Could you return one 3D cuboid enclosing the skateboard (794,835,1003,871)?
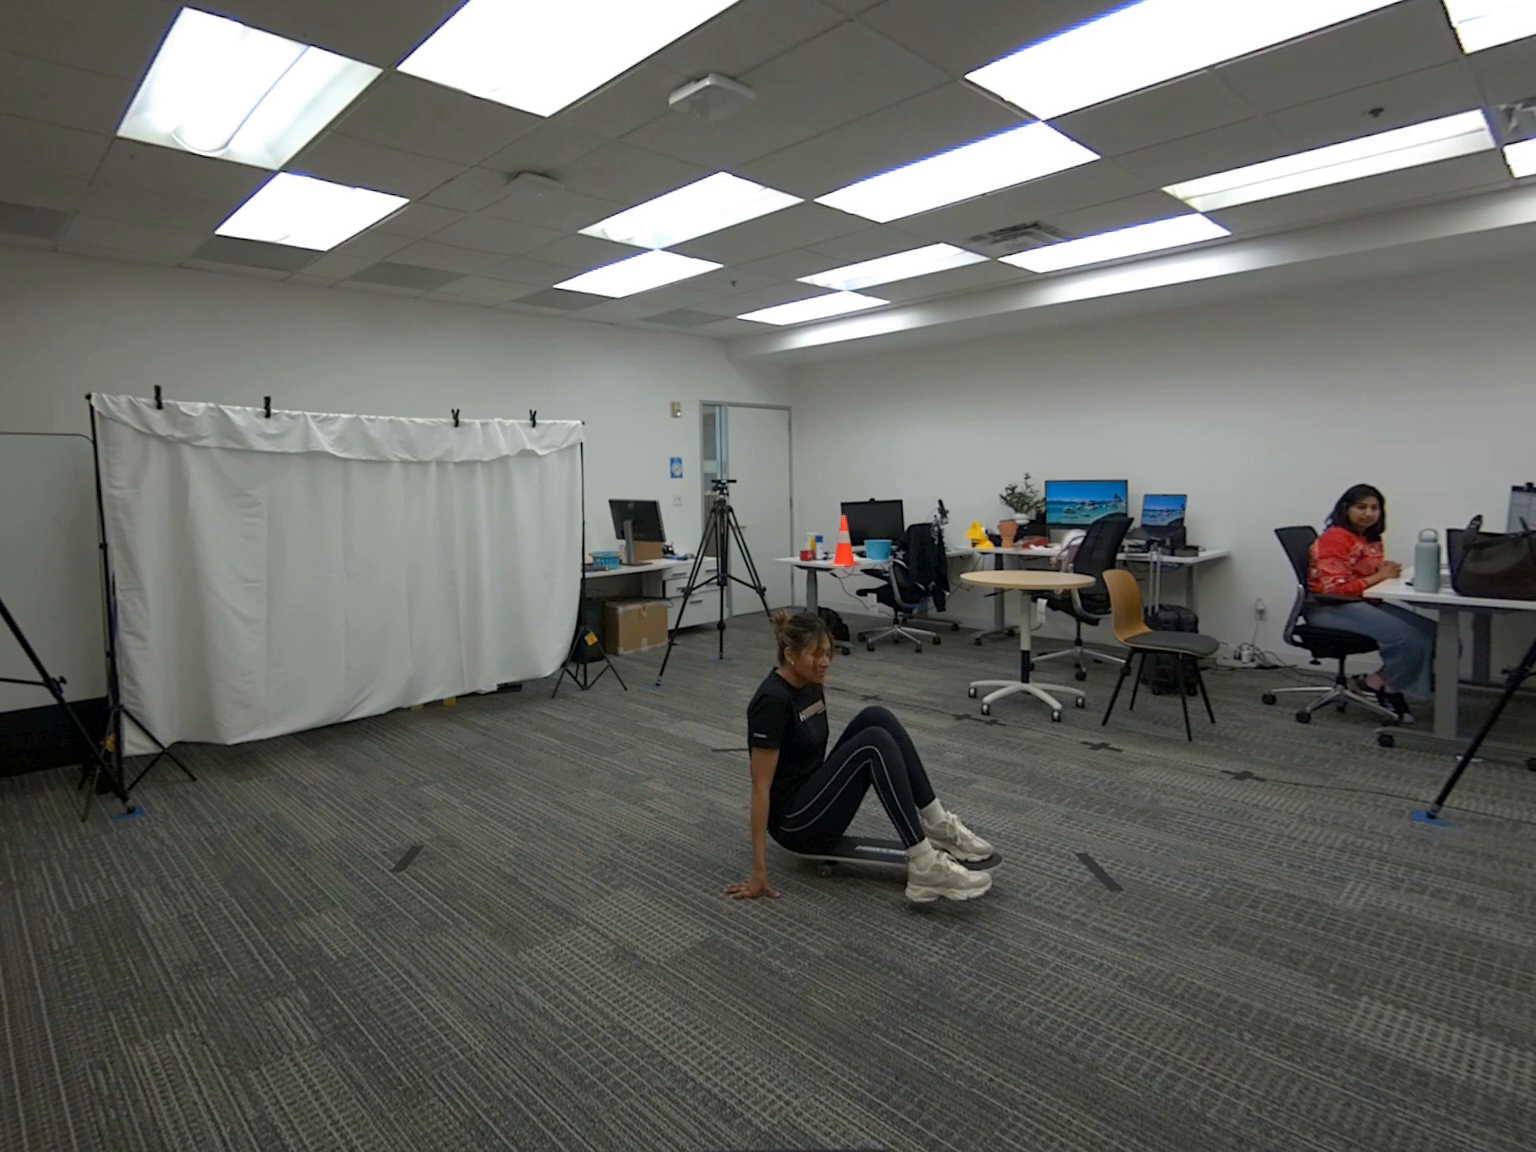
[{"bbox_3d":[0.404,0.994,2.989,0.800,0.110,0.191,1,6,20],"label":"skateboard"}]
